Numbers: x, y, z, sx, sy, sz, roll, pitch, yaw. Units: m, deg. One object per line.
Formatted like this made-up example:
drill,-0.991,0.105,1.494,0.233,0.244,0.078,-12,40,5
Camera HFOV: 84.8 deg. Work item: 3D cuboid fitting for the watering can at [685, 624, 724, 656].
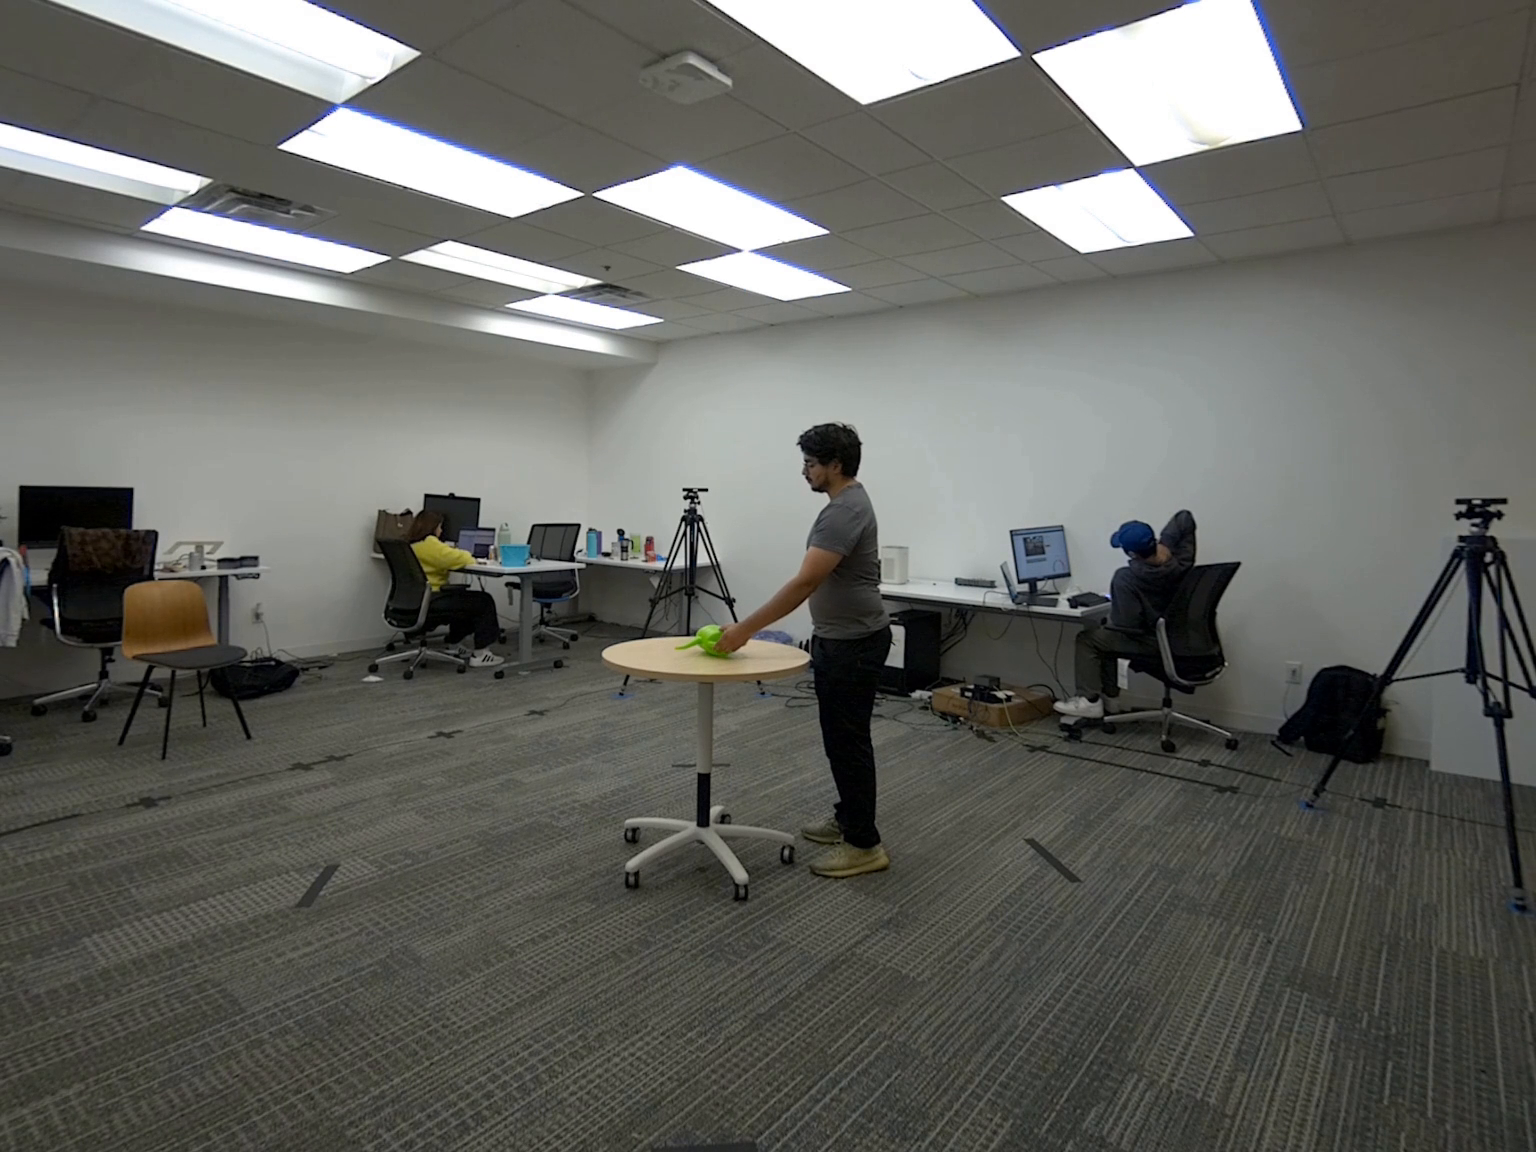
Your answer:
watering can,-0.224,0.230,3.116,0.272,0.098,0.181,11,0,-19
